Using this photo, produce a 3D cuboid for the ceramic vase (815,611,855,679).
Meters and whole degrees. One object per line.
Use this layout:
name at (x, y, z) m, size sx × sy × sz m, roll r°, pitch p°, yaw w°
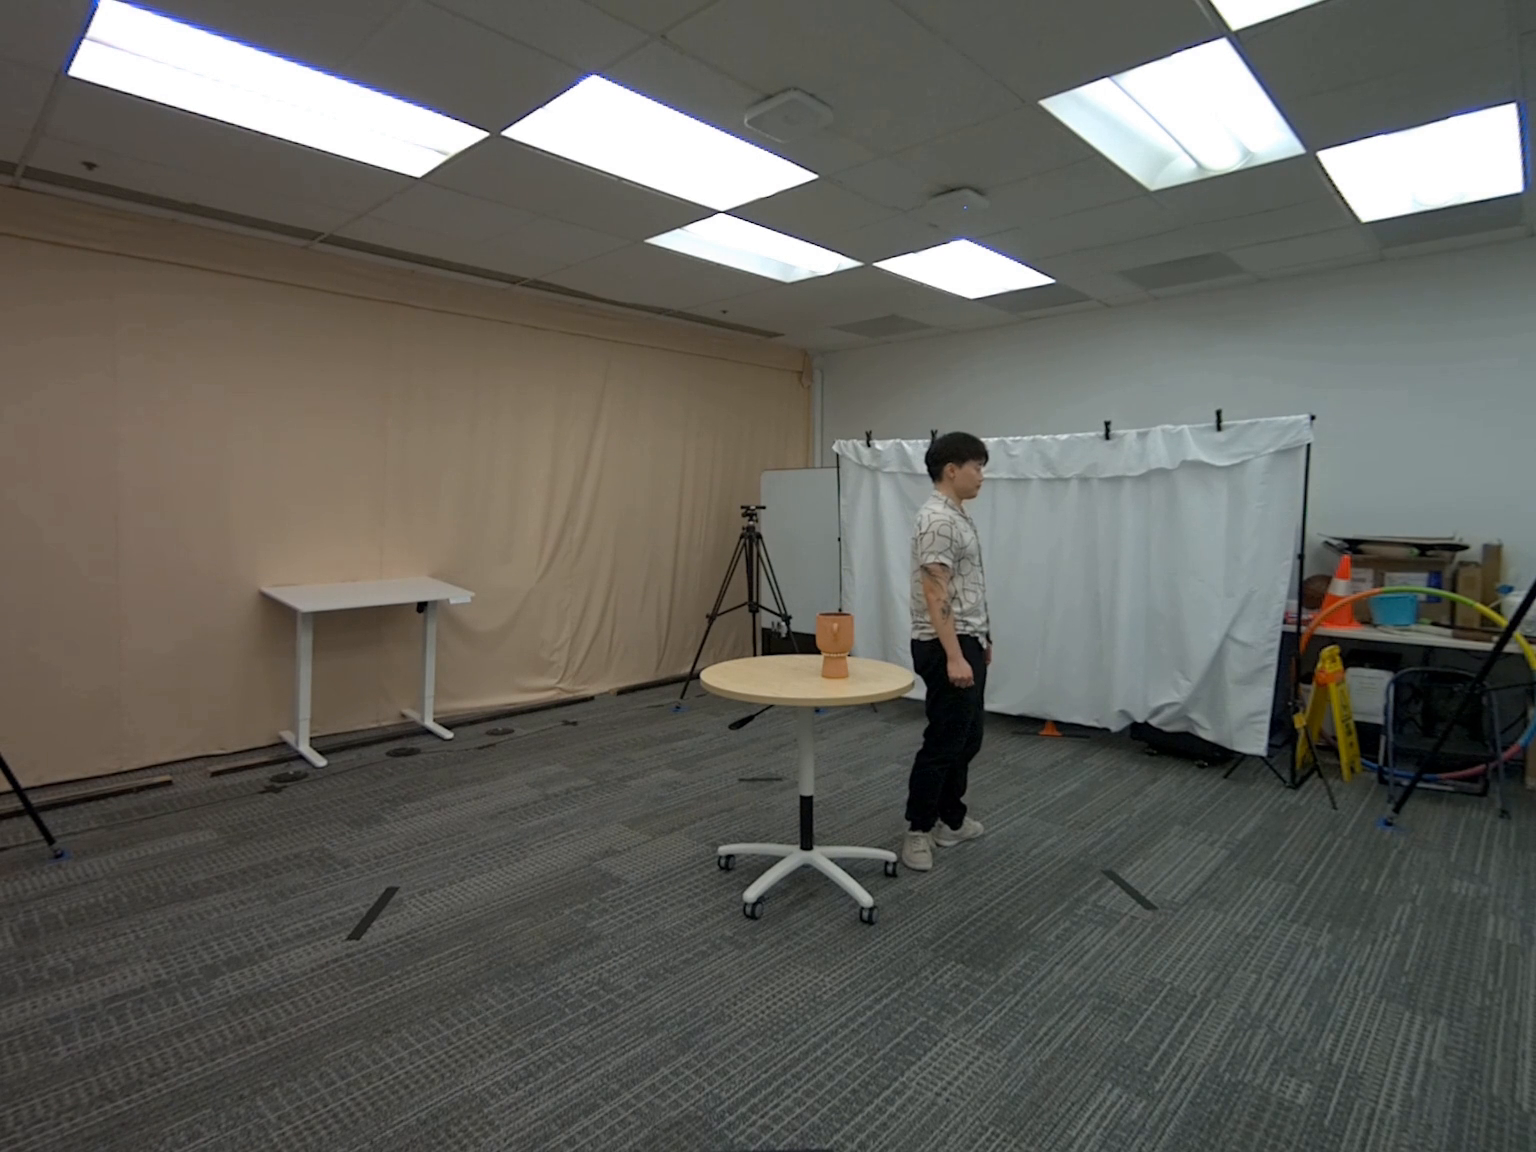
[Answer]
ceramic vase at (0.244, 0.246, 2.986) m, size 0.139 × 0.219 × 0.154 m, roll 3°, pitch 4°, yaw 43°
